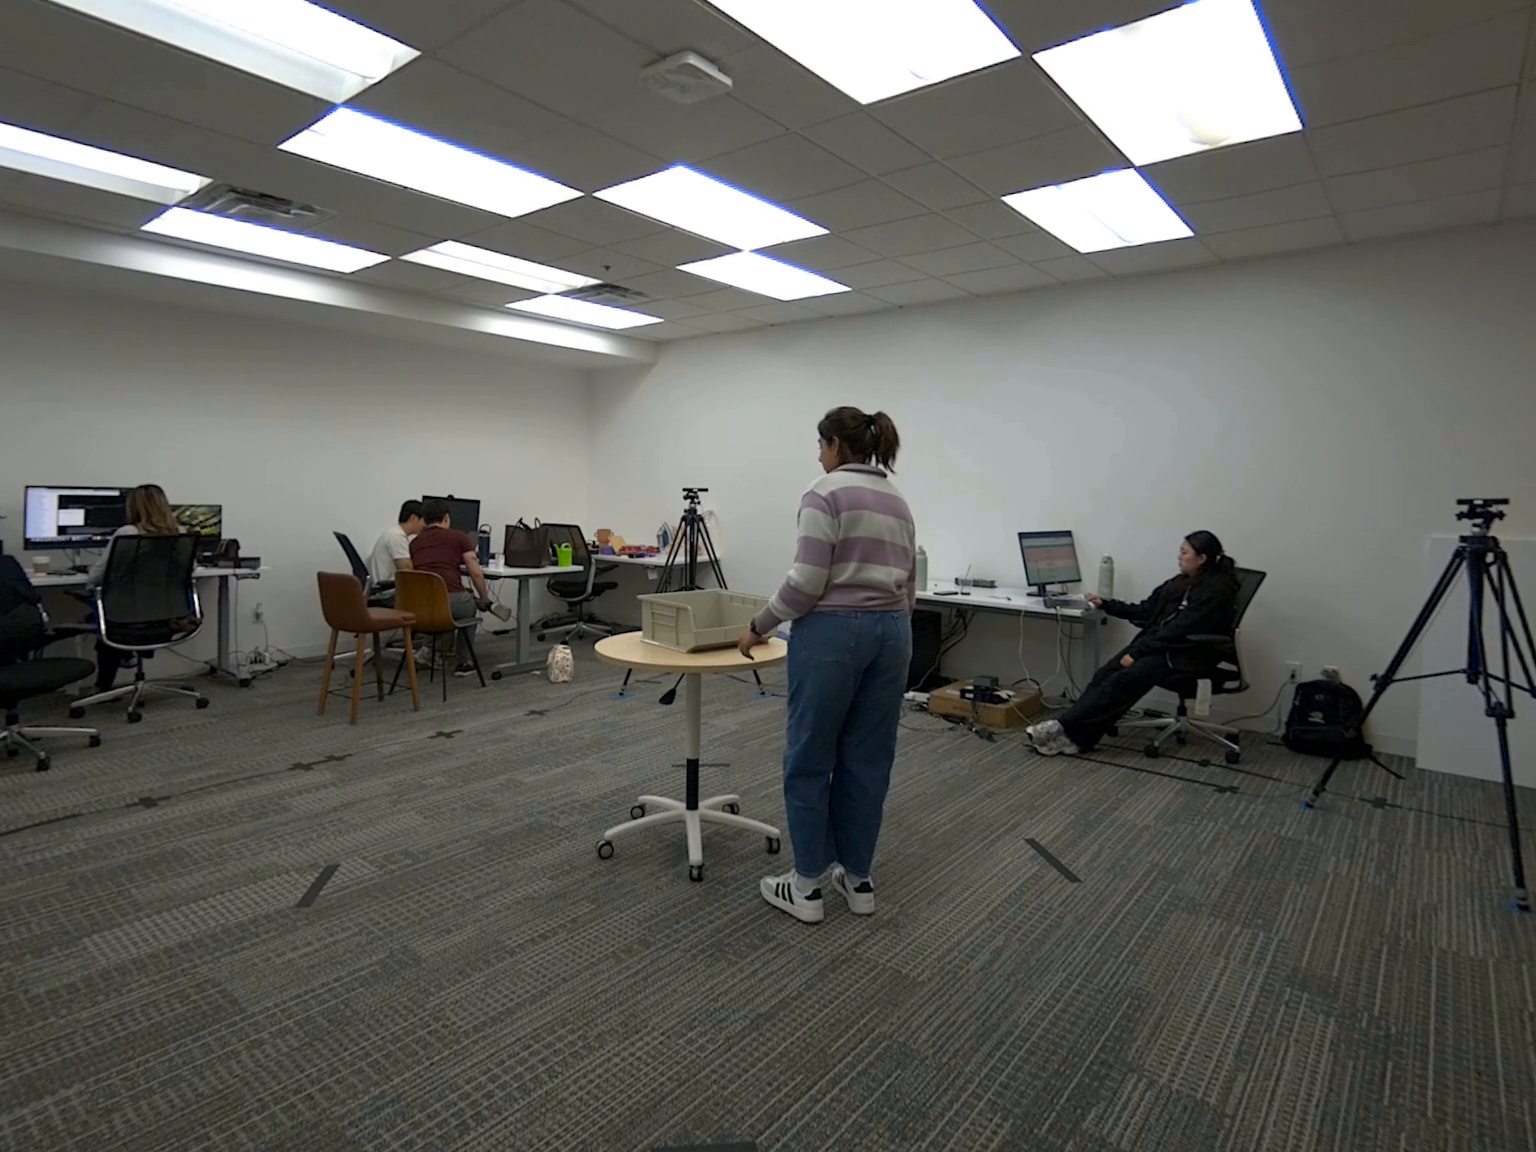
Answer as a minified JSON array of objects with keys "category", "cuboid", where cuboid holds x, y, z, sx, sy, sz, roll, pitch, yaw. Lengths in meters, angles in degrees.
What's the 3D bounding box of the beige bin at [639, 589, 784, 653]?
[{"category":"beige bin","cuboid":[-0.250,0.172,3.363,0.410,0.188,0.390,-4,6,-40]}]
